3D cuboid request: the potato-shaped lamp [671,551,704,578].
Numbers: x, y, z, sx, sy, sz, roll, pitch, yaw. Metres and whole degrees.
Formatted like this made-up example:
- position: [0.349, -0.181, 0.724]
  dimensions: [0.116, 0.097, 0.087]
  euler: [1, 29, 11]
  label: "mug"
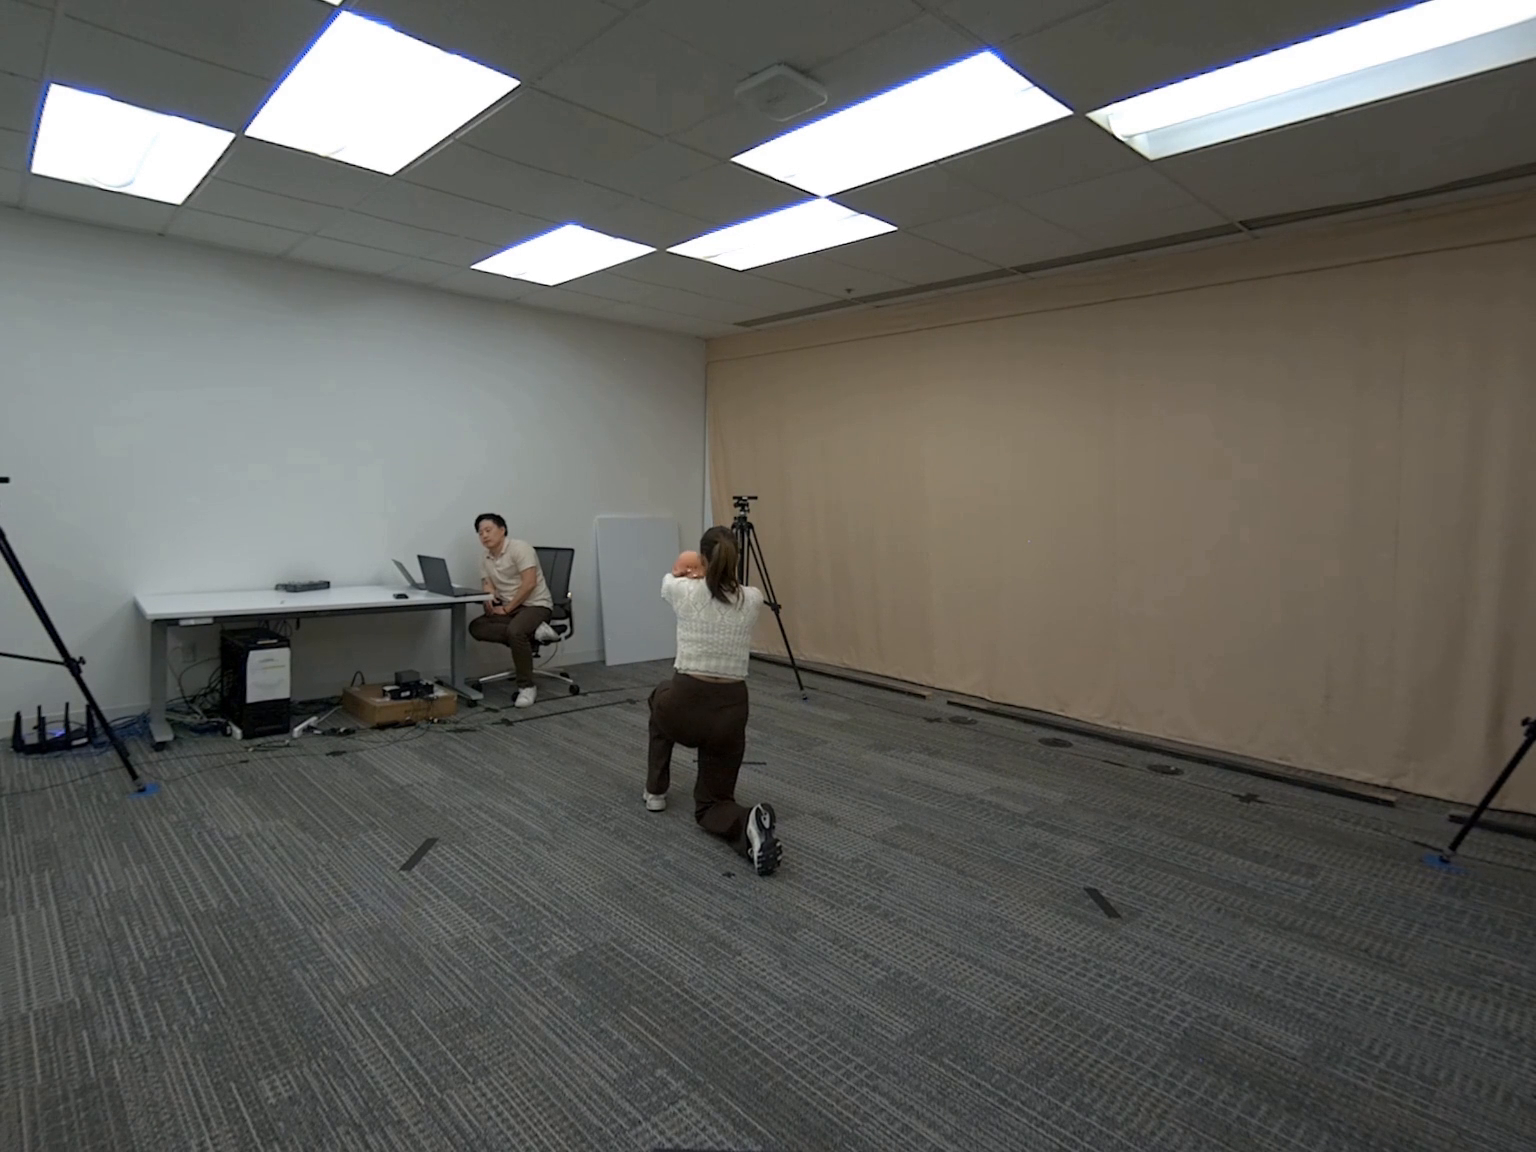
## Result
- position: [-0.409, -0.016, 4.201]
  dimensions: [0.164, 0.195, 0.174]
  euler: [7, 24, -3]
  label: "potato-shaped lamp"
